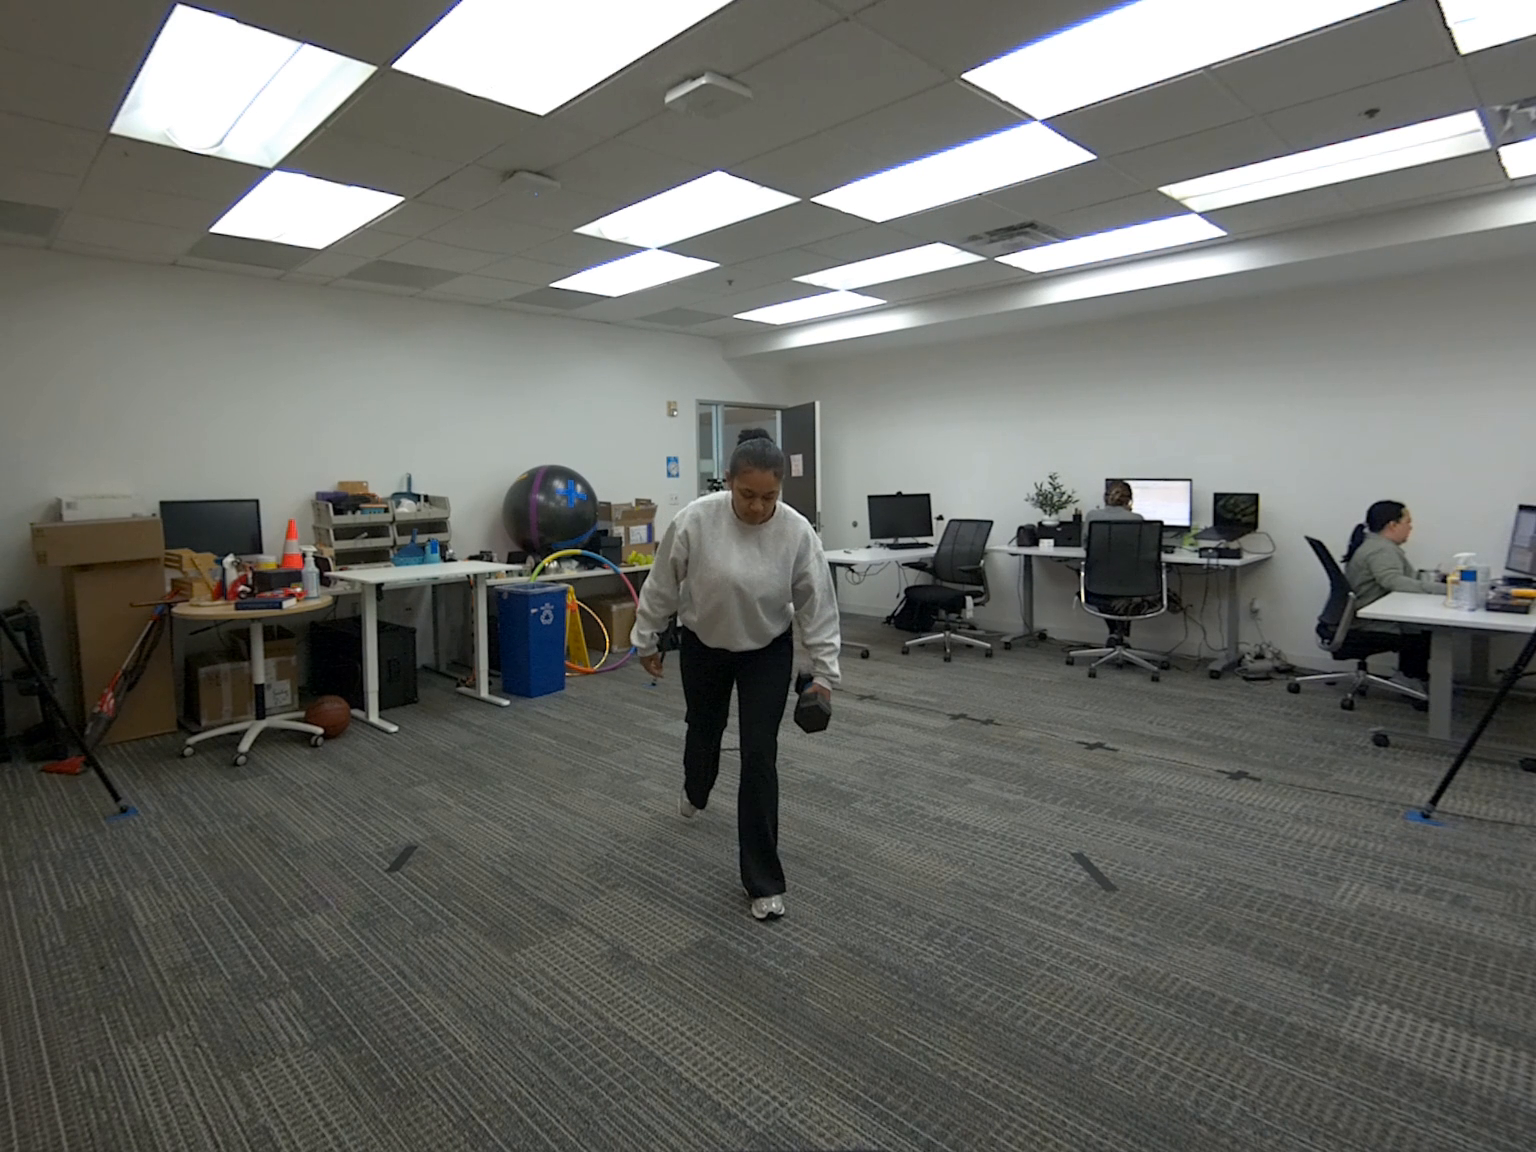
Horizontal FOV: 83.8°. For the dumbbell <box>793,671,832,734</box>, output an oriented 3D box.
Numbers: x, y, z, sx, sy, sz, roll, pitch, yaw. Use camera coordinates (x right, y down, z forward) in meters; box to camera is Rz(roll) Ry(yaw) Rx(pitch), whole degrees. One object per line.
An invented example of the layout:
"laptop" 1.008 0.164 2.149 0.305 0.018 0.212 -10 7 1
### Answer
"dumbbell" 0.138 0.405 2.785 0.109 0.122 0.296 15 18 -1
